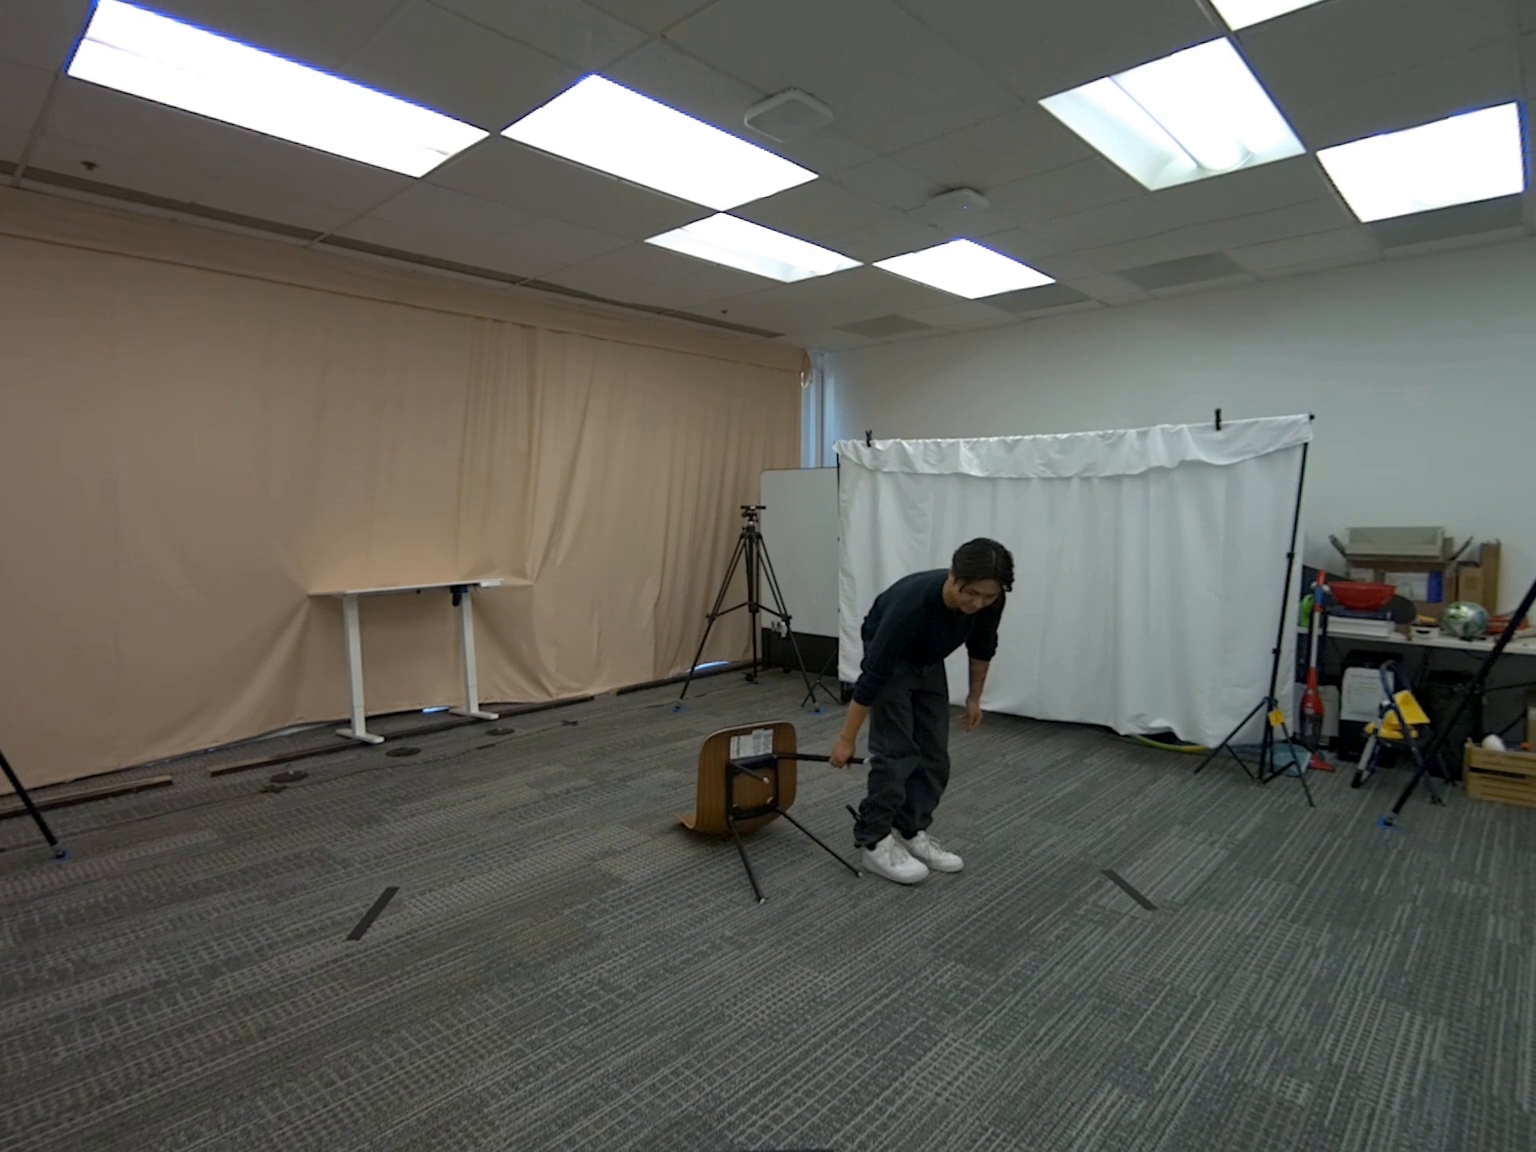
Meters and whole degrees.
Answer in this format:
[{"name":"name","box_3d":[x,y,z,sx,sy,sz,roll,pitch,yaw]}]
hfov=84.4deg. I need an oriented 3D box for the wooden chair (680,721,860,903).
[{"name":"wooden chair","box_3d":[-0.061,0.851,3.390,0.465,0.522,0.902,-2,3,-30]}]
